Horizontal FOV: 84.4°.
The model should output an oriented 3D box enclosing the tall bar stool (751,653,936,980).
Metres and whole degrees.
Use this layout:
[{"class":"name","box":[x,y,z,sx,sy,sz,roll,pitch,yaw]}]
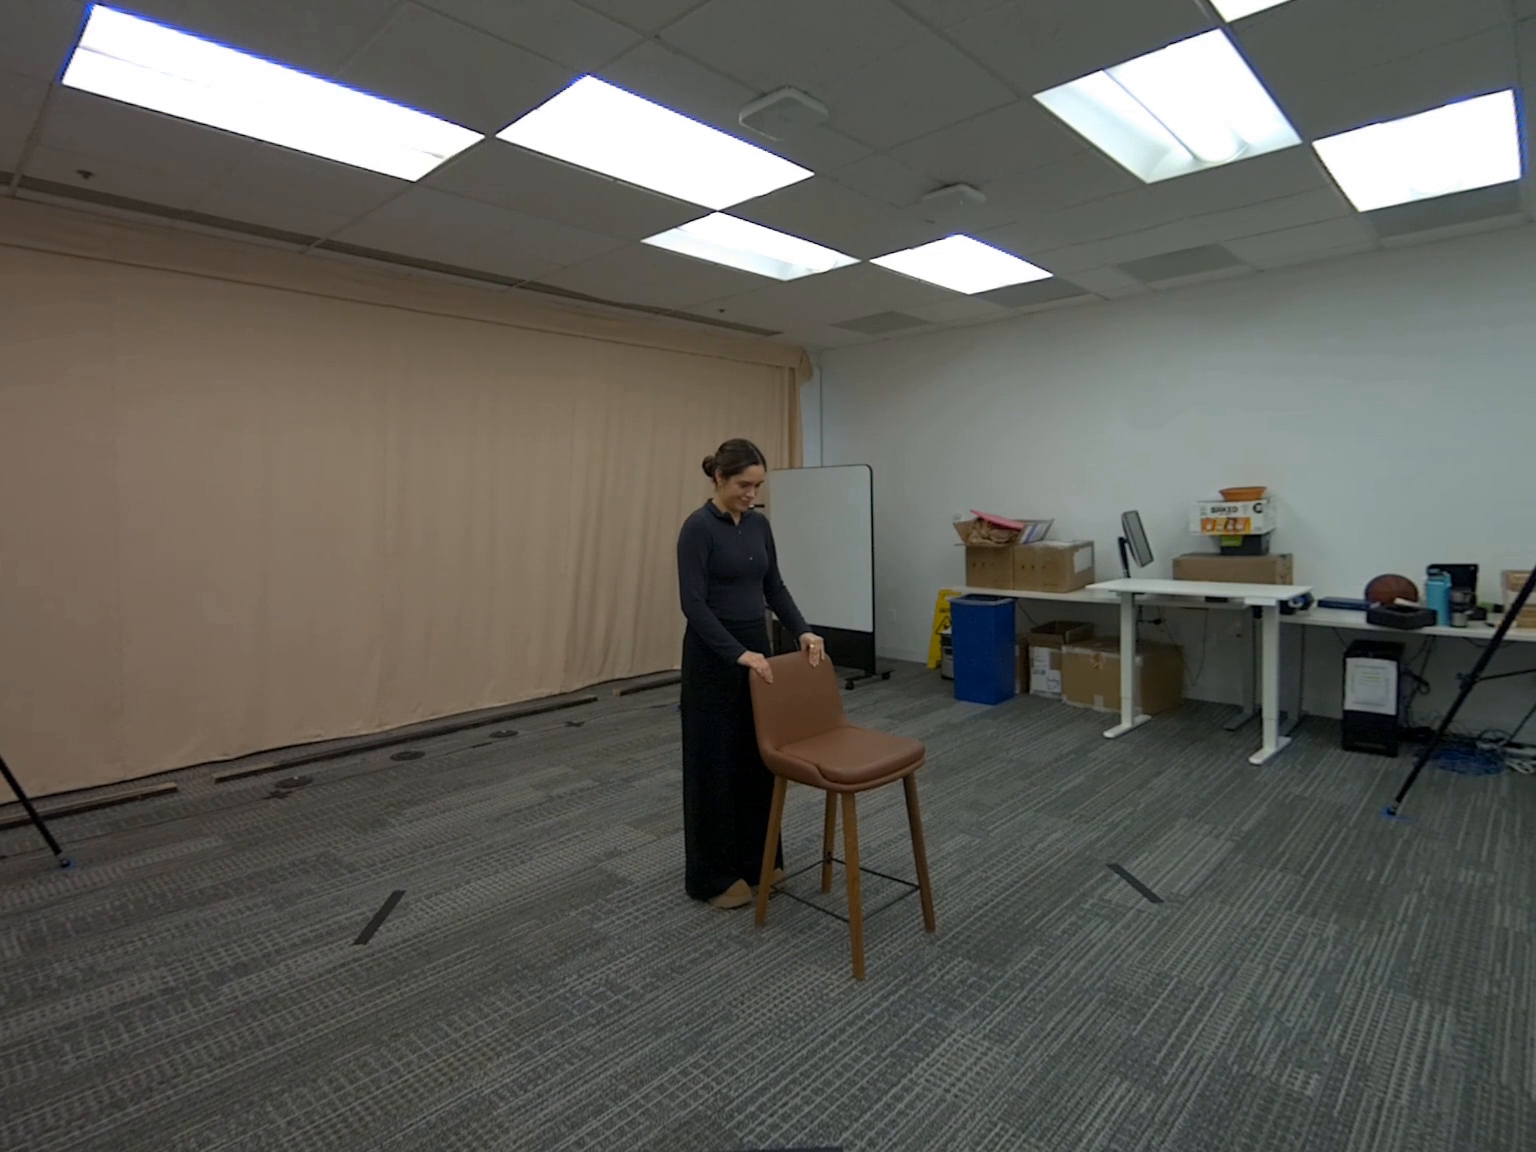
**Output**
[{"class":"tall bar stool","box":[0.235,0.718,2.736,0.442,0.889,0.482,-4,2,-44]}]
